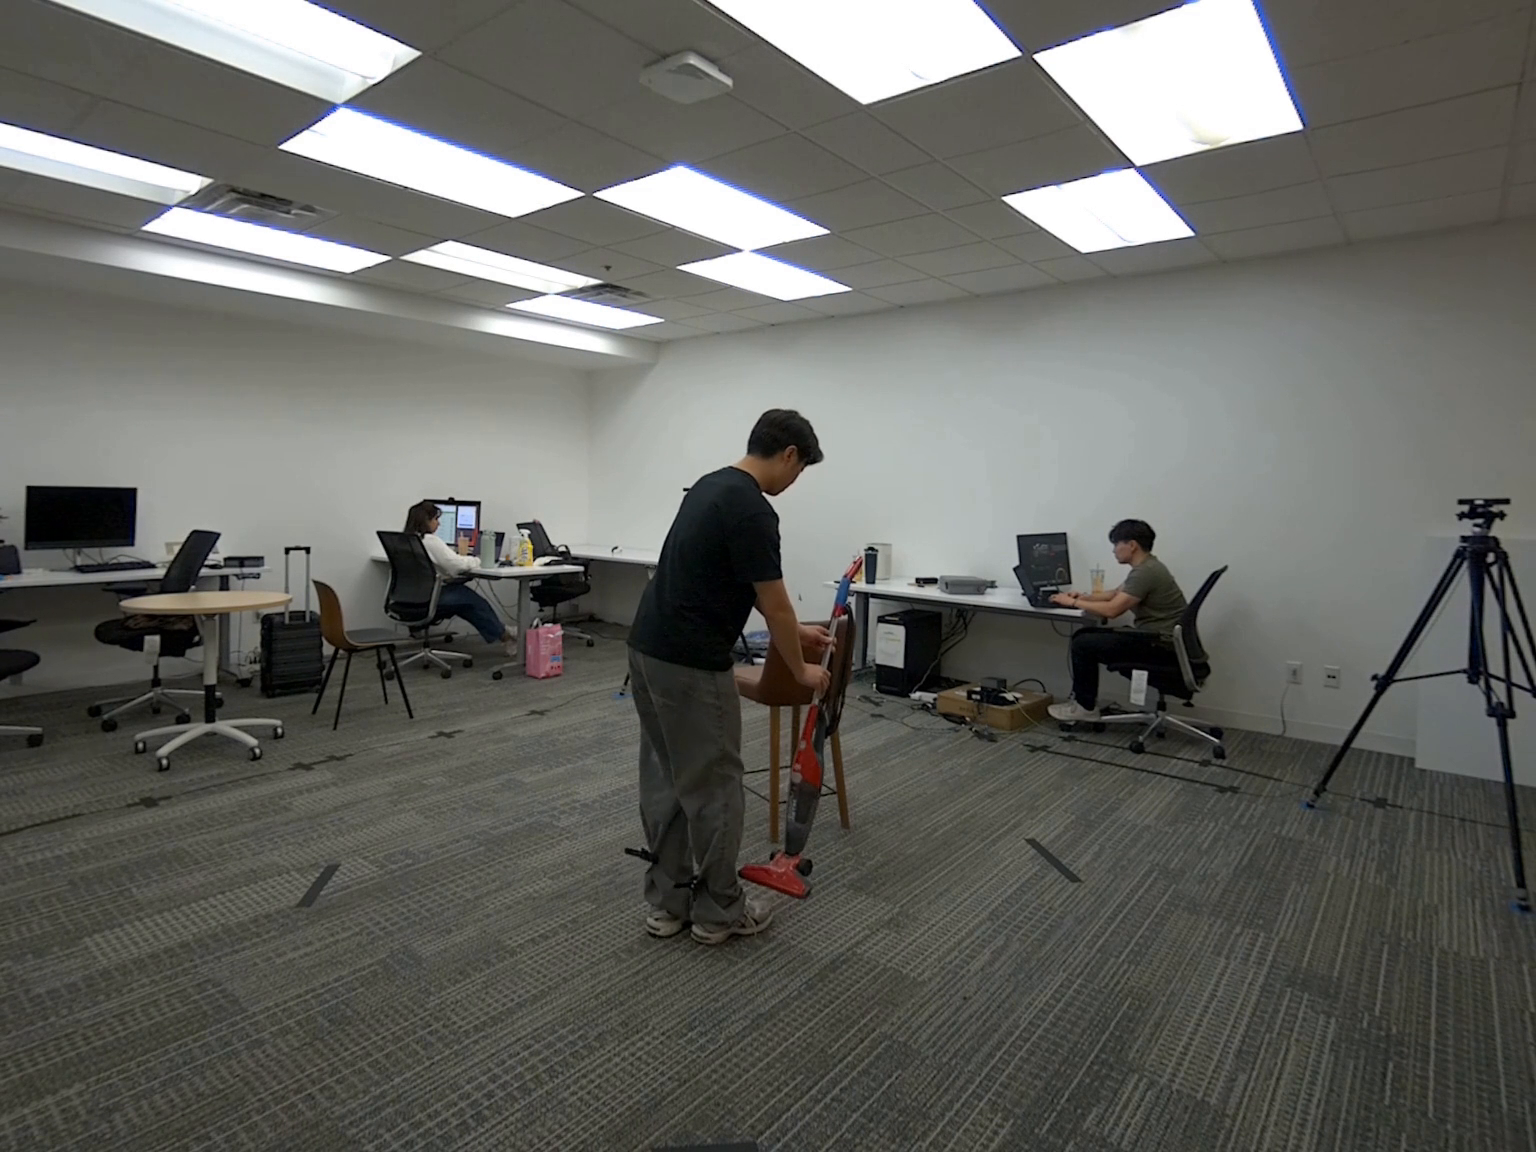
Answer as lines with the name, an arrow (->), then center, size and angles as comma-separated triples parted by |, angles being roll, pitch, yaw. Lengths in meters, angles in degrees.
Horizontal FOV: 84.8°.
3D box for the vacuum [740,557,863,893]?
vacuum -> 0.181, 0.429, 2.777 | 0.260, 1.061, 0.138 | -2, -23, 43
